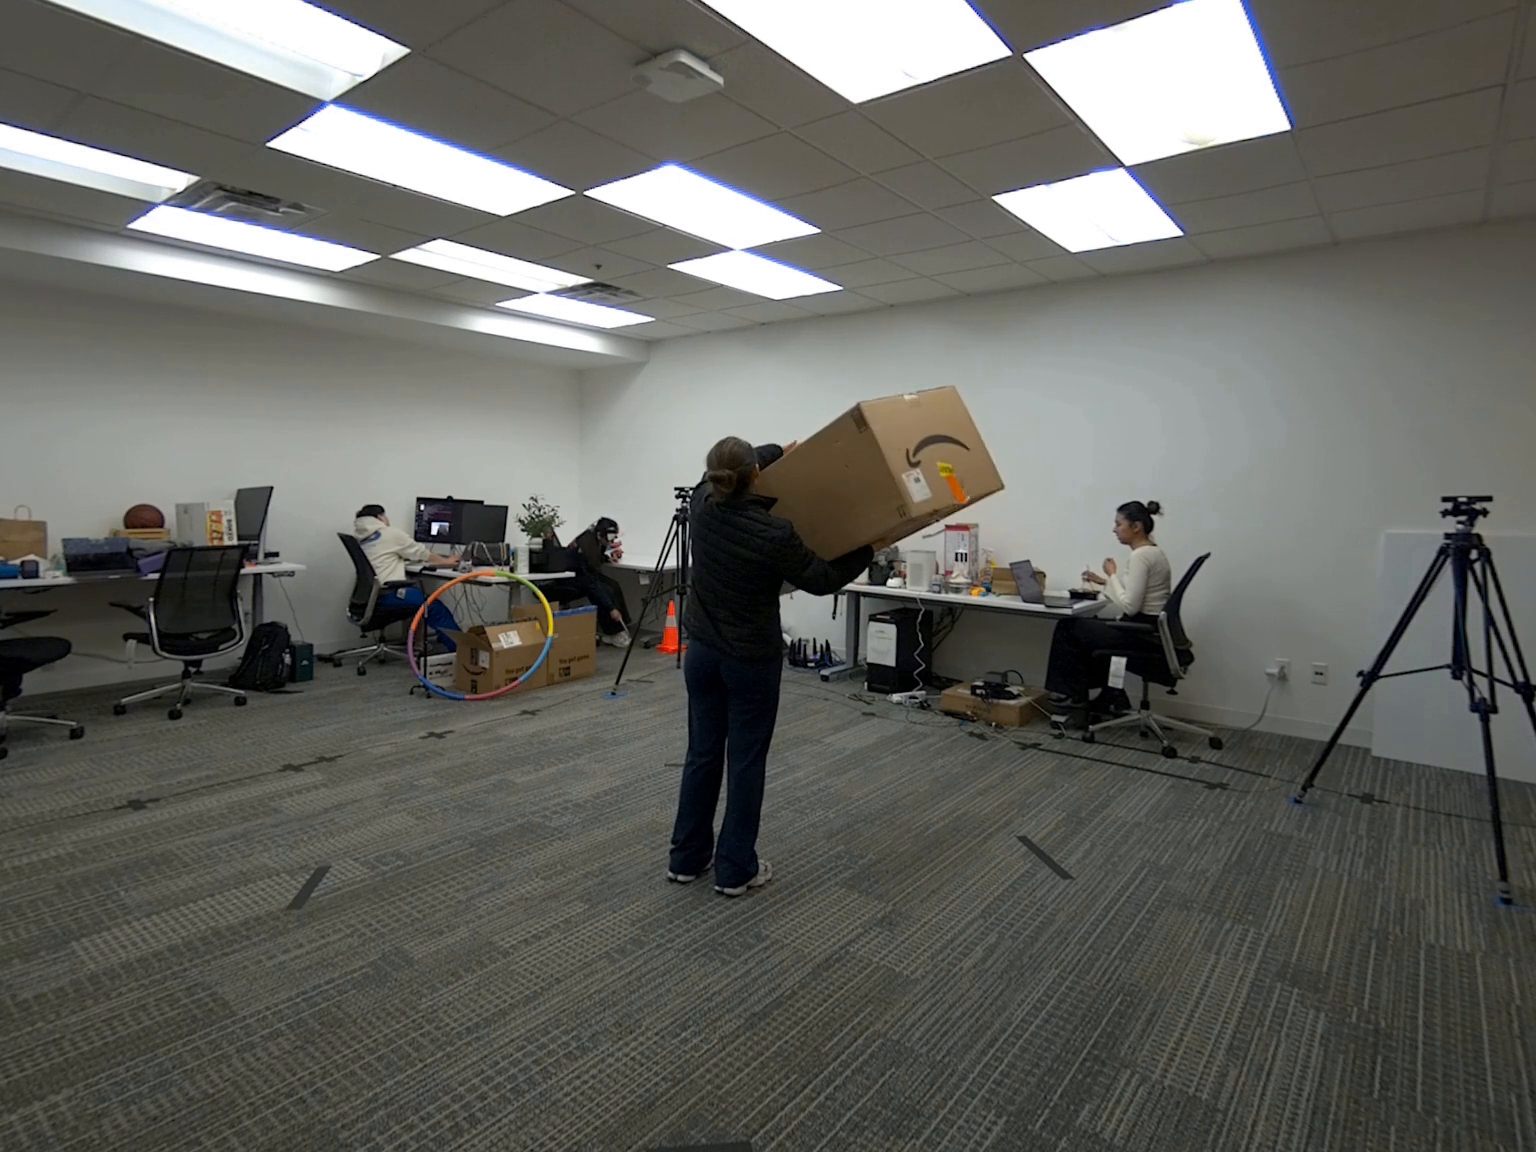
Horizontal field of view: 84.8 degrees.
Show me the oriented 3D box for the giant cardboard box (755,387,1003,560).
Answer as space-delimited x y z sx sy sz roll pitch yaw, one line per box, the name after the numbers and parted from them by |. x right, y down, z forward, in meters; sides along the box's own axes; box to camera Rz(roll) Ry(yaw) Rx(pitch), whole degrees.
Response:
0.282 -0.273 3.314 0.565 0.430 1.038 -18 -8 -41 | giant cardboard box
